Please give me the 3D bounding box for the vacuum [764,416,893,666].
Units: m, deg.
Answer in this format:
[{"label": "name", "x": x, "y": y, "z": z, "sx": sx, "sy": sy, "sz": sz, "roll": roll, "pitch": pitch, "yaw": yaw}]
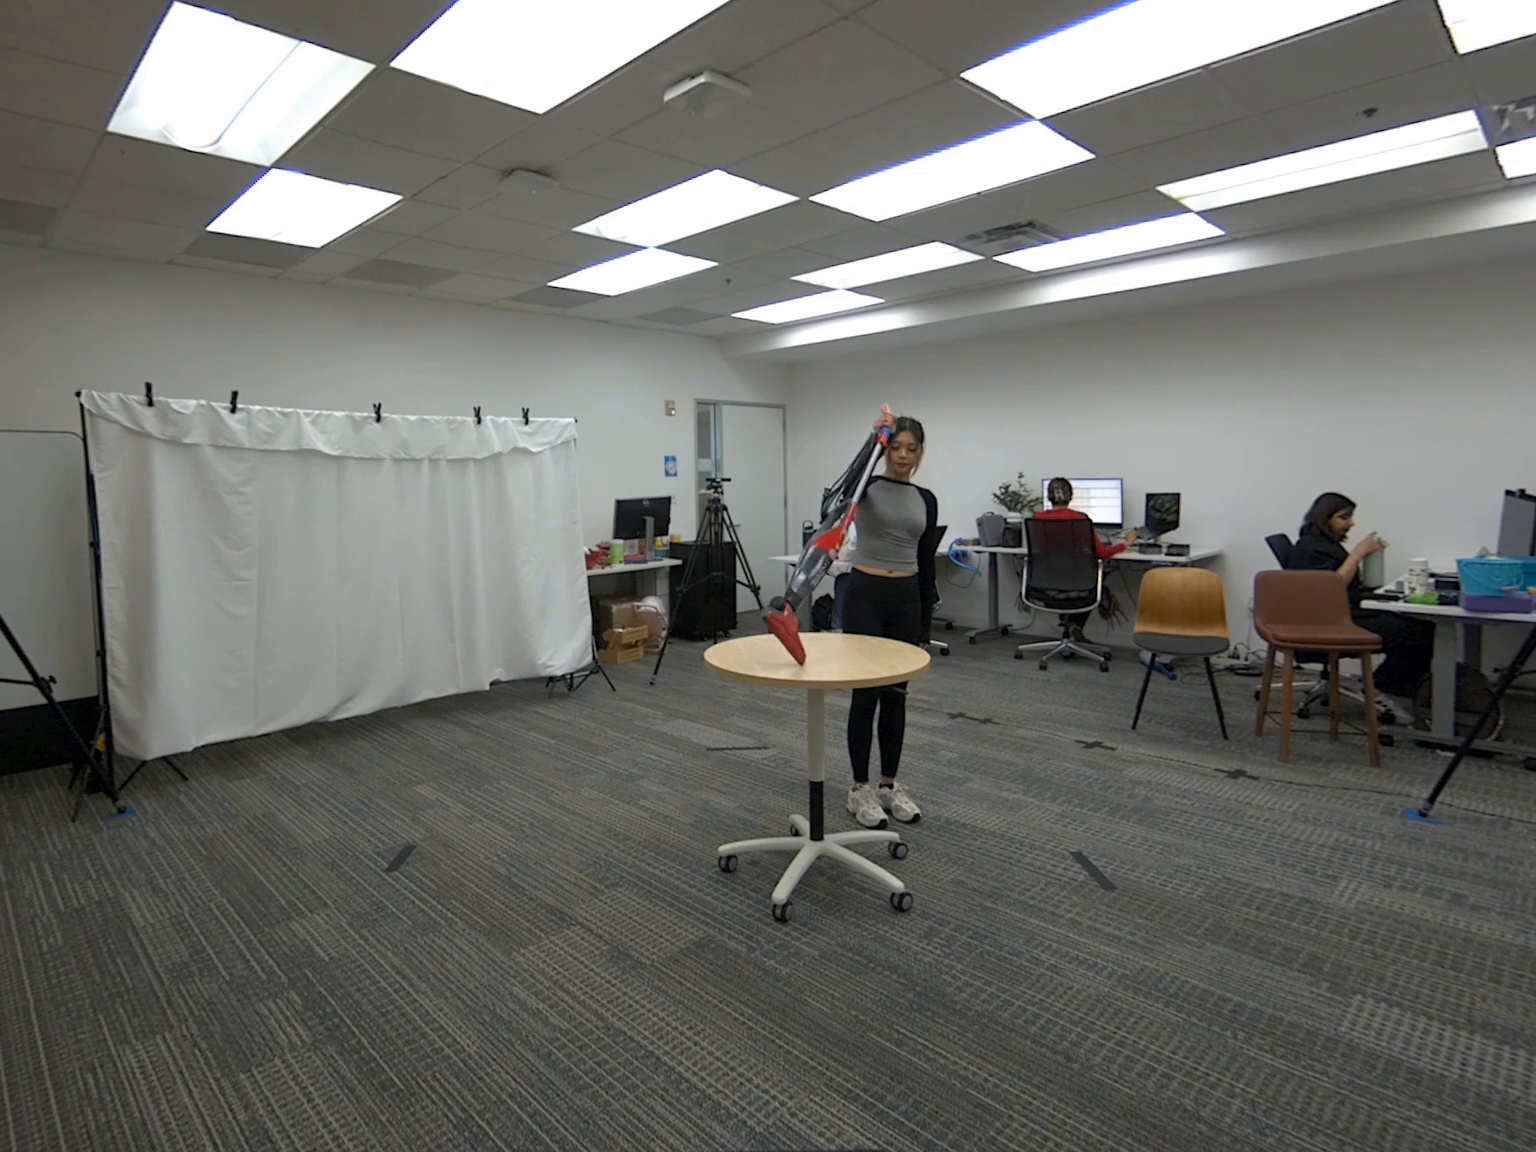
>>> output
[{"label": "vacuum", "x": 0.259, "y": -0.232, "z": 3.000, "sx": 0.148, "sy": 1.062, "sz": 0.243, "roll": 4, "pitch": -36, "yaw": 27}]
